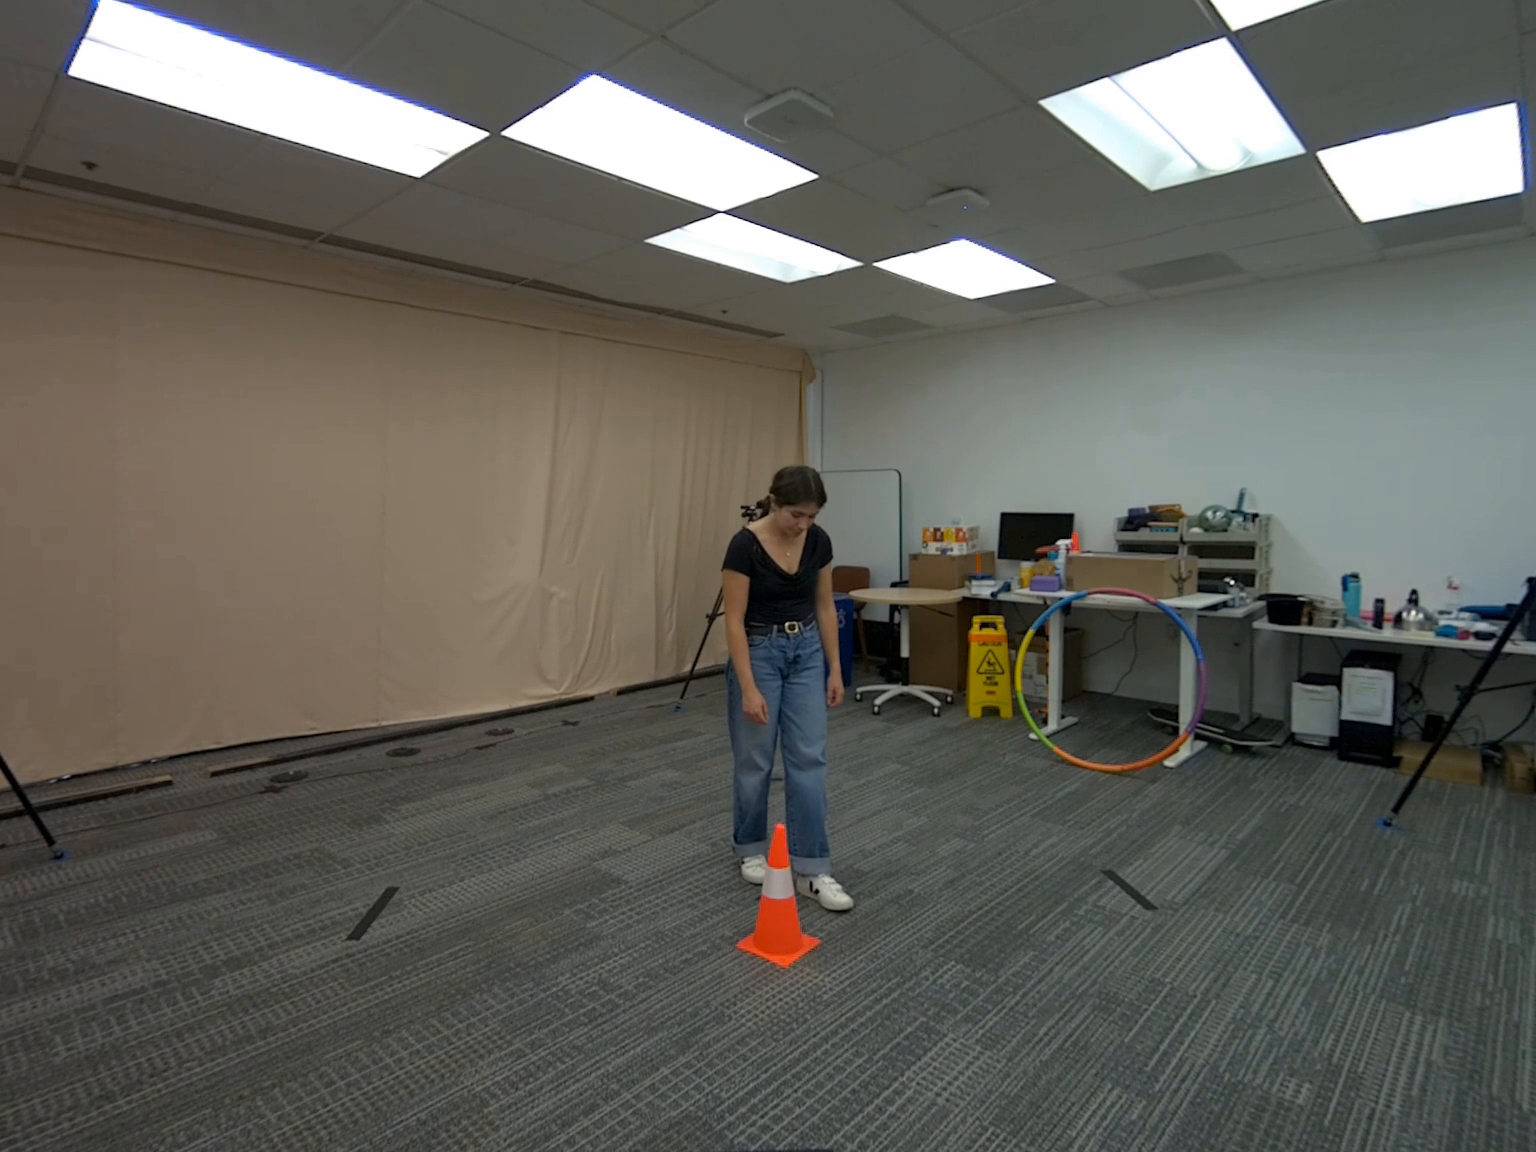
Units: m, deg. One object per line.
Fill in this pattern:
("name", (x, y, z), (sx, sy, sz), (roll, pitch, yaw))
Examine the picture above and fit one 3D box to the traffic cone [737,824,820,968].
("traffic cone", (0.036, 0.985, 2.667), (0.210, 0.383, 0.199), (2, 2, 35))
